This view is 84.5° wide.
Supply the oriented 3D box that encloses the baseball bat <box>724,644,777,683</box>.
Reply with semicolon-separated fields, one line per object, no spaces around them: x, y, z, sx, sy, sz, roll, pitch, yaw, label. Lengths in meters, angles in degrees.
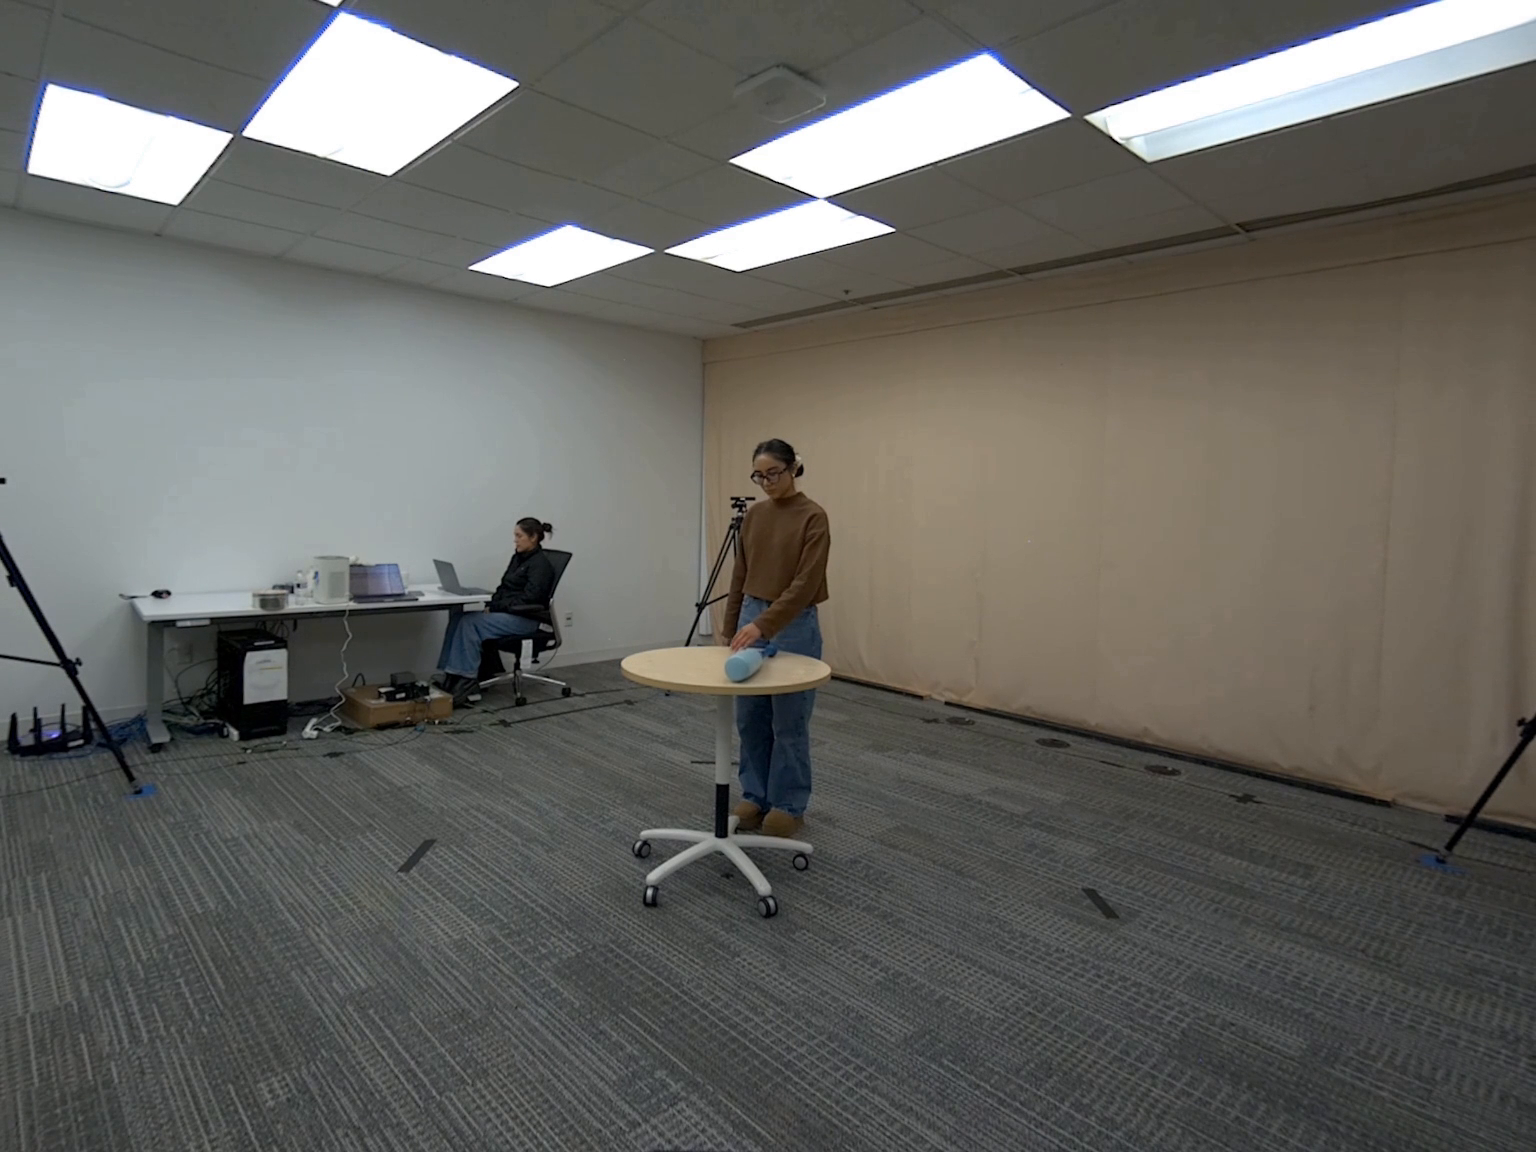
-0.056;0.300;3.011;0.090;0.089;0.538;2;2;10;baseball bat
